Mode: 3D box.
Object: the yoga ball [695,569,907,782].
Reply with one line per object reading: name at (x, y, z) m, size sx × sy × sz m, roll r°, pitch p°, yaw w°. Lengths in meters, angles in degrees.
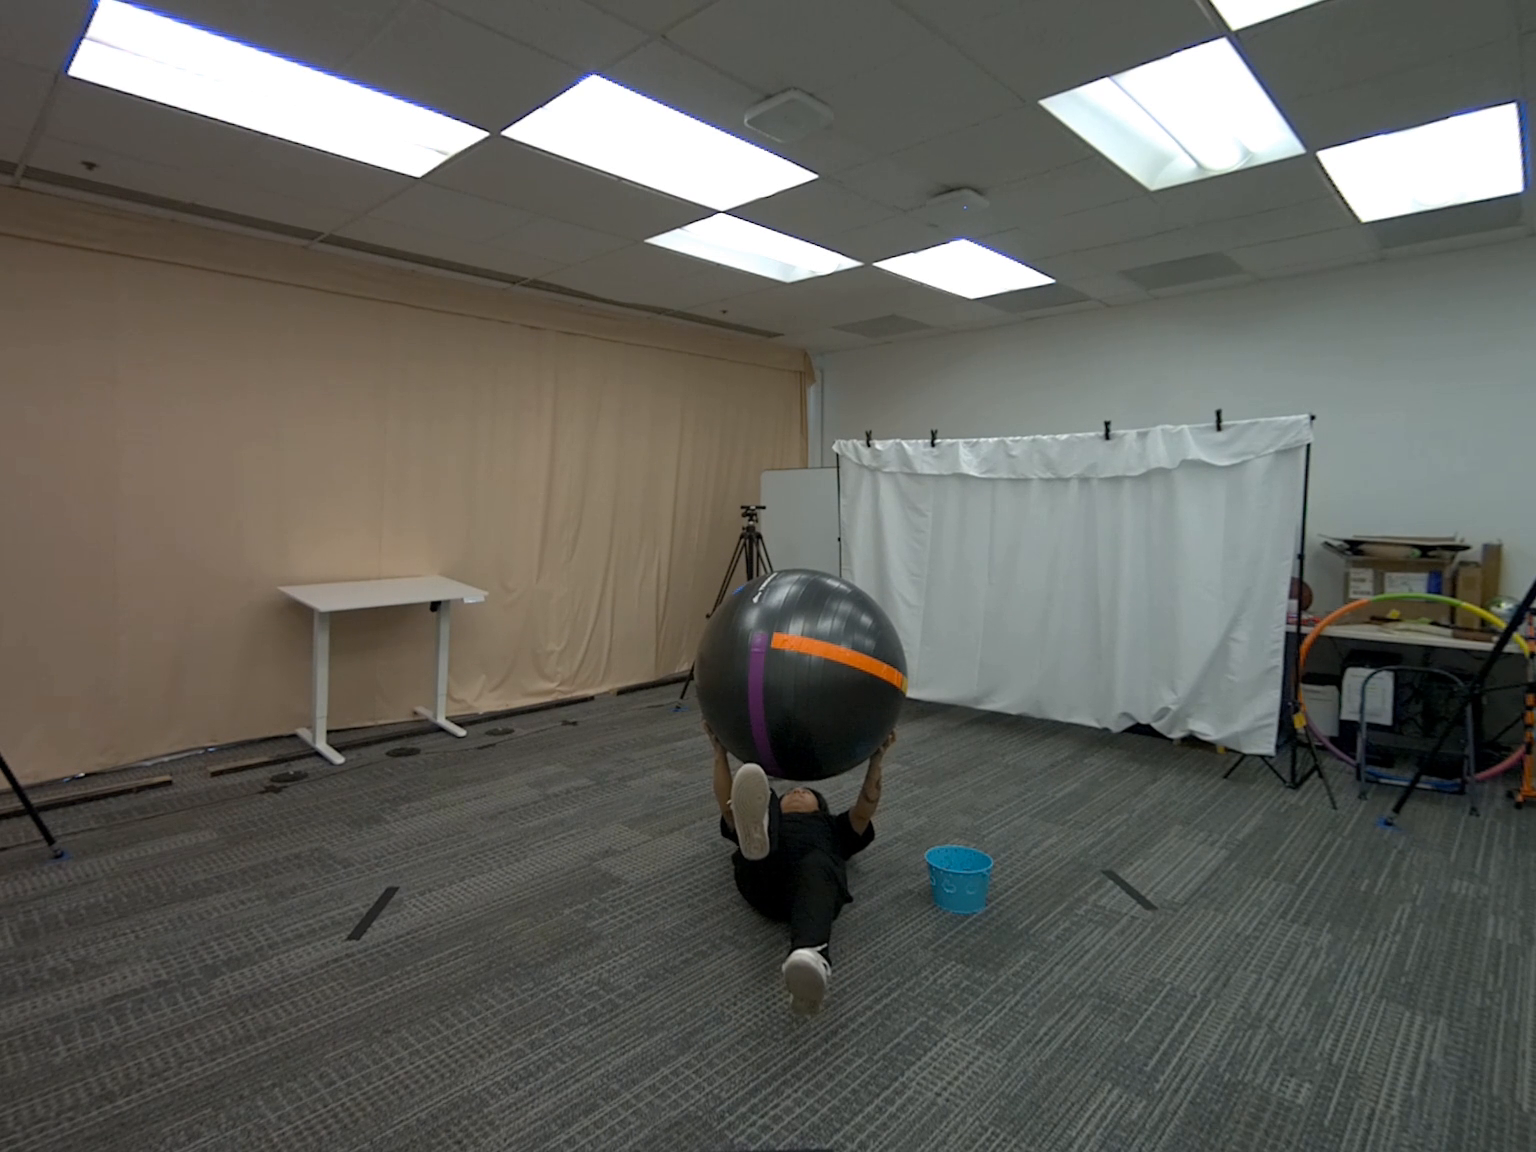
yoga ball at (0.114, 0.361, 3.056) m, size 0.757 × 0.756 × 0.760 m, roll 0°, pitch 4°, yaw -2°
